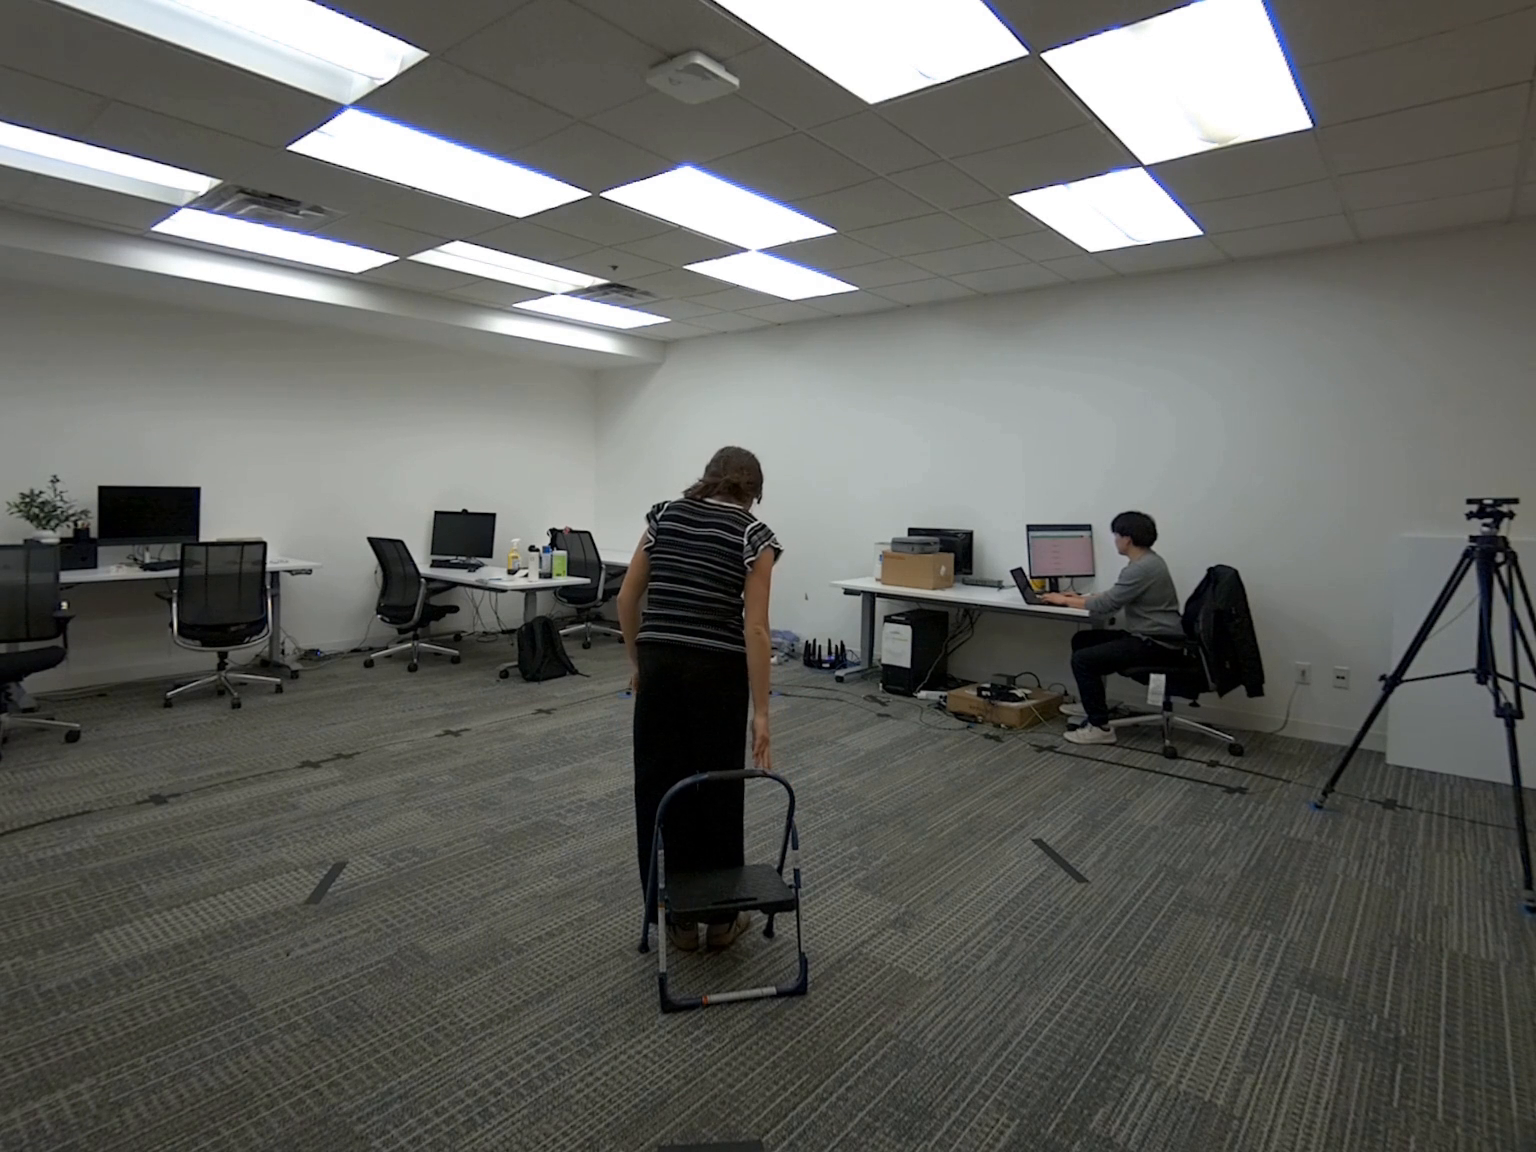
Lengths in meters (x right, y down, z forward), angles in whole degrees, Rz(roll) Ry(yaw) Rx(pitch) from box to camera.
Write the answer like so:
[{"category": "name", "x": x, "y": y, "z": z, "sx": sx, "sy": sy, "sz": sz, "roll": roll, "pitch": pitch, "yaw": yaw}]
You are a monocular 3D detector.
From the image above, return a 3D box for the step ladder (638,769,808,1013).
[{"category": "step ladder", "x": -0.138, "y": 0.836, "z": 2.438, "sx": 0.423, "sy": 0.605, "sz": 0.356, "roll": -1, "pitch": 3, "yaw": -17}]
